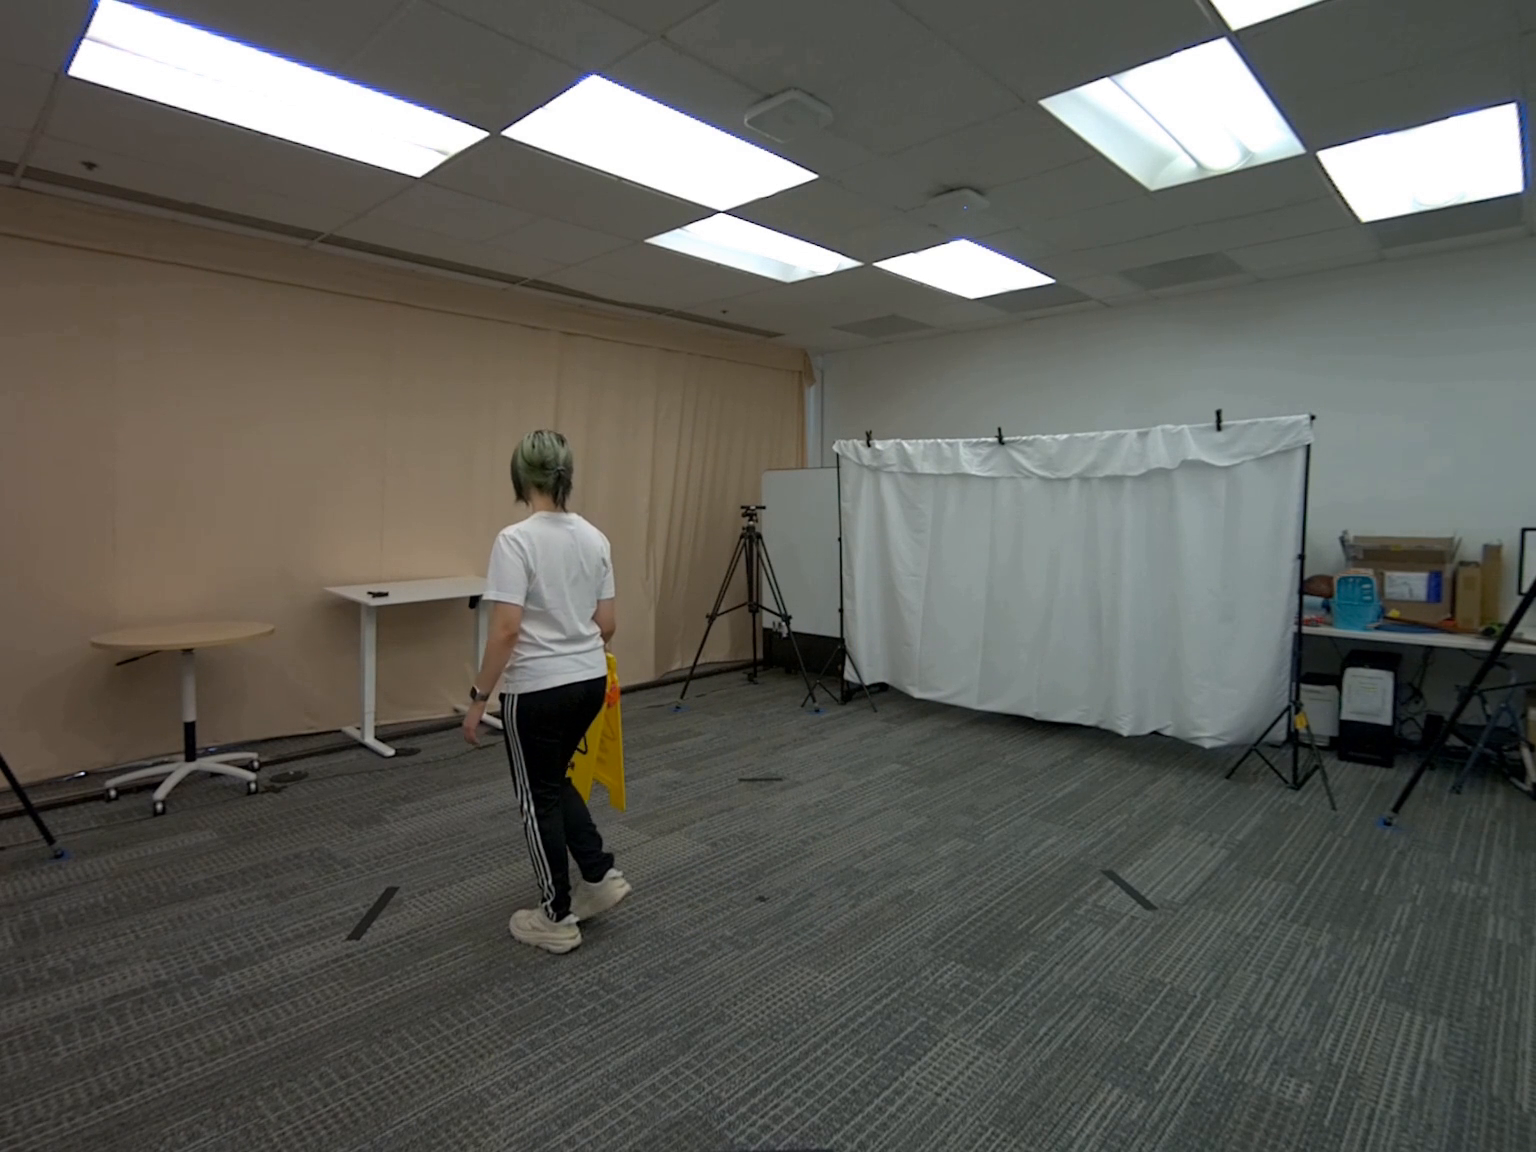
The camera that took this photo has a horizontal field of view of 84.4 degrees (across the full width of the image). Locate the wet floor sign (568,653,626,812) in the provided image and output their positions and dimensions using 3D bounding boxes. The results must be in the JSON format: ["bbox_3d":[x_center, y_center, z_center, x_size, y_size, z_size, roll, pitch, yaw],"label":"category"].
[{"bbox_3d":[-0.677,0.574,3.137,0.292,0.642,0.281,18,15,33],"label":"wet floor sign"}]
